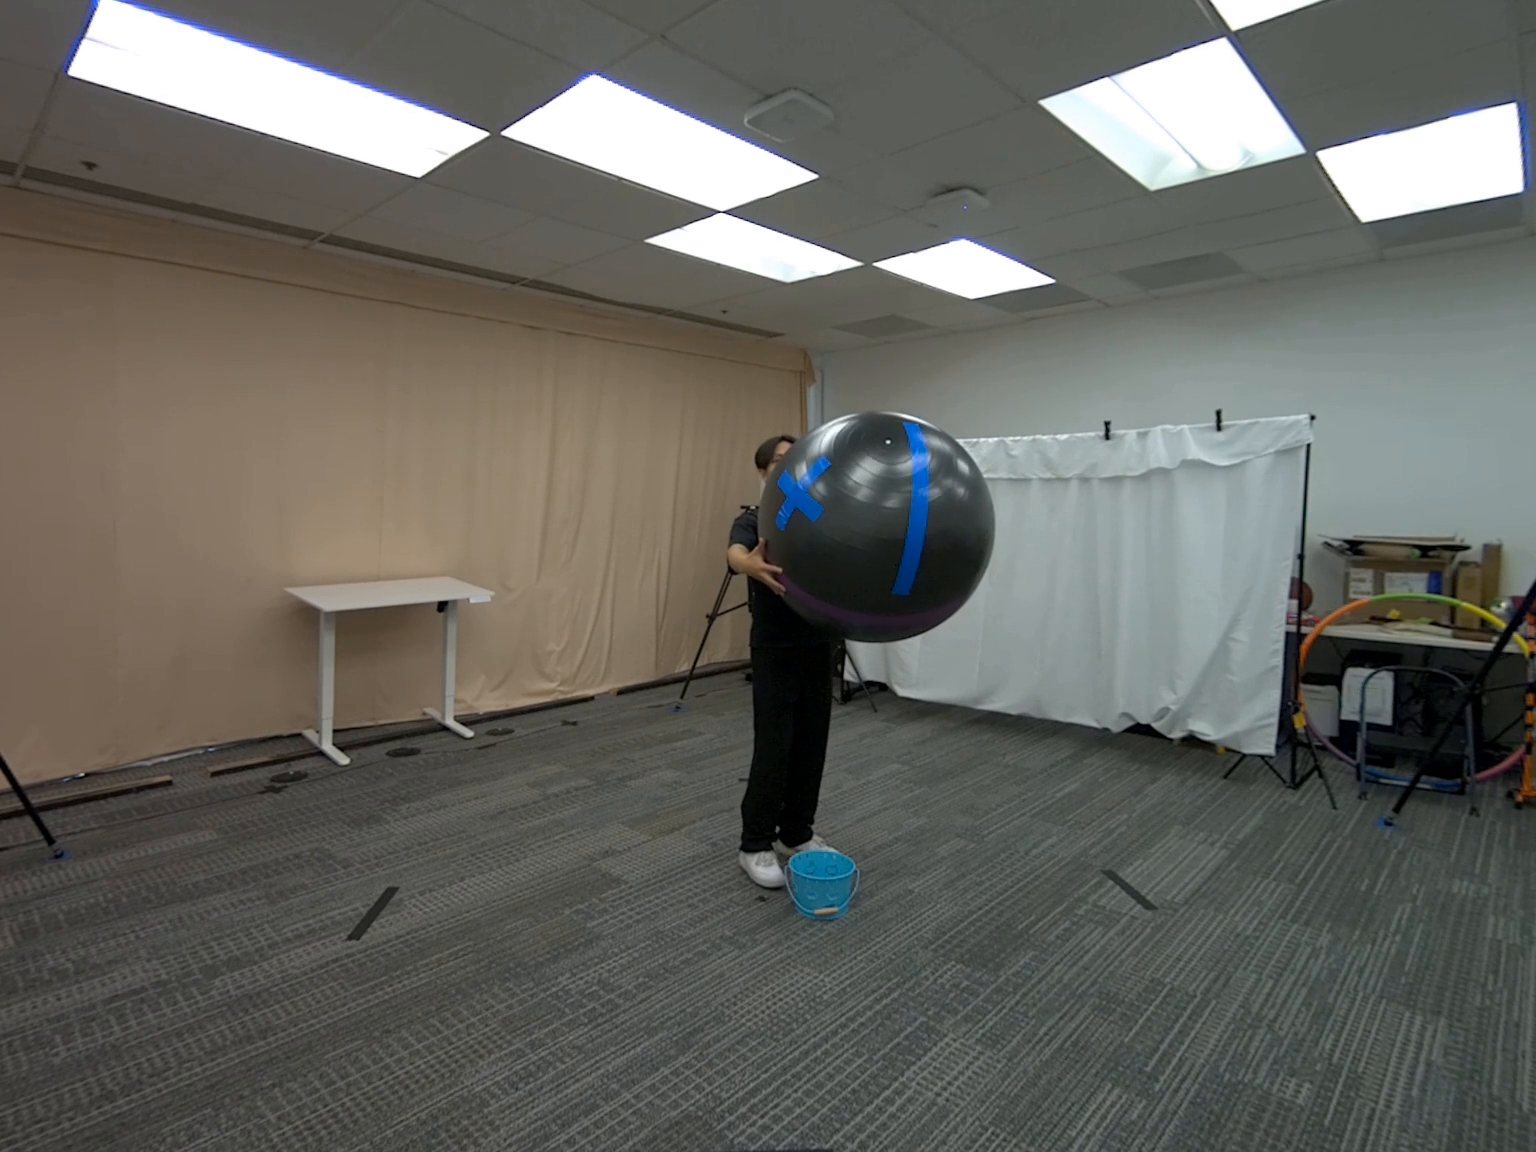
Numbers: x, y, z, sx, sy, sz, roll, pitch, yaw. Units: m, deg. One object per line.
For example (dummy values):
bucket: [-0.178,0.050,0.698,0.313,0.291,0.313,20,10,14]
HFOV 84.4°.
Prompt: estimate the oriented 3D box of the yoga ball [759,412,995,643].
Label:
yoga ball: [0.350,-0.151,2.771,0.757,0.756,0.761,0,4,-2]
